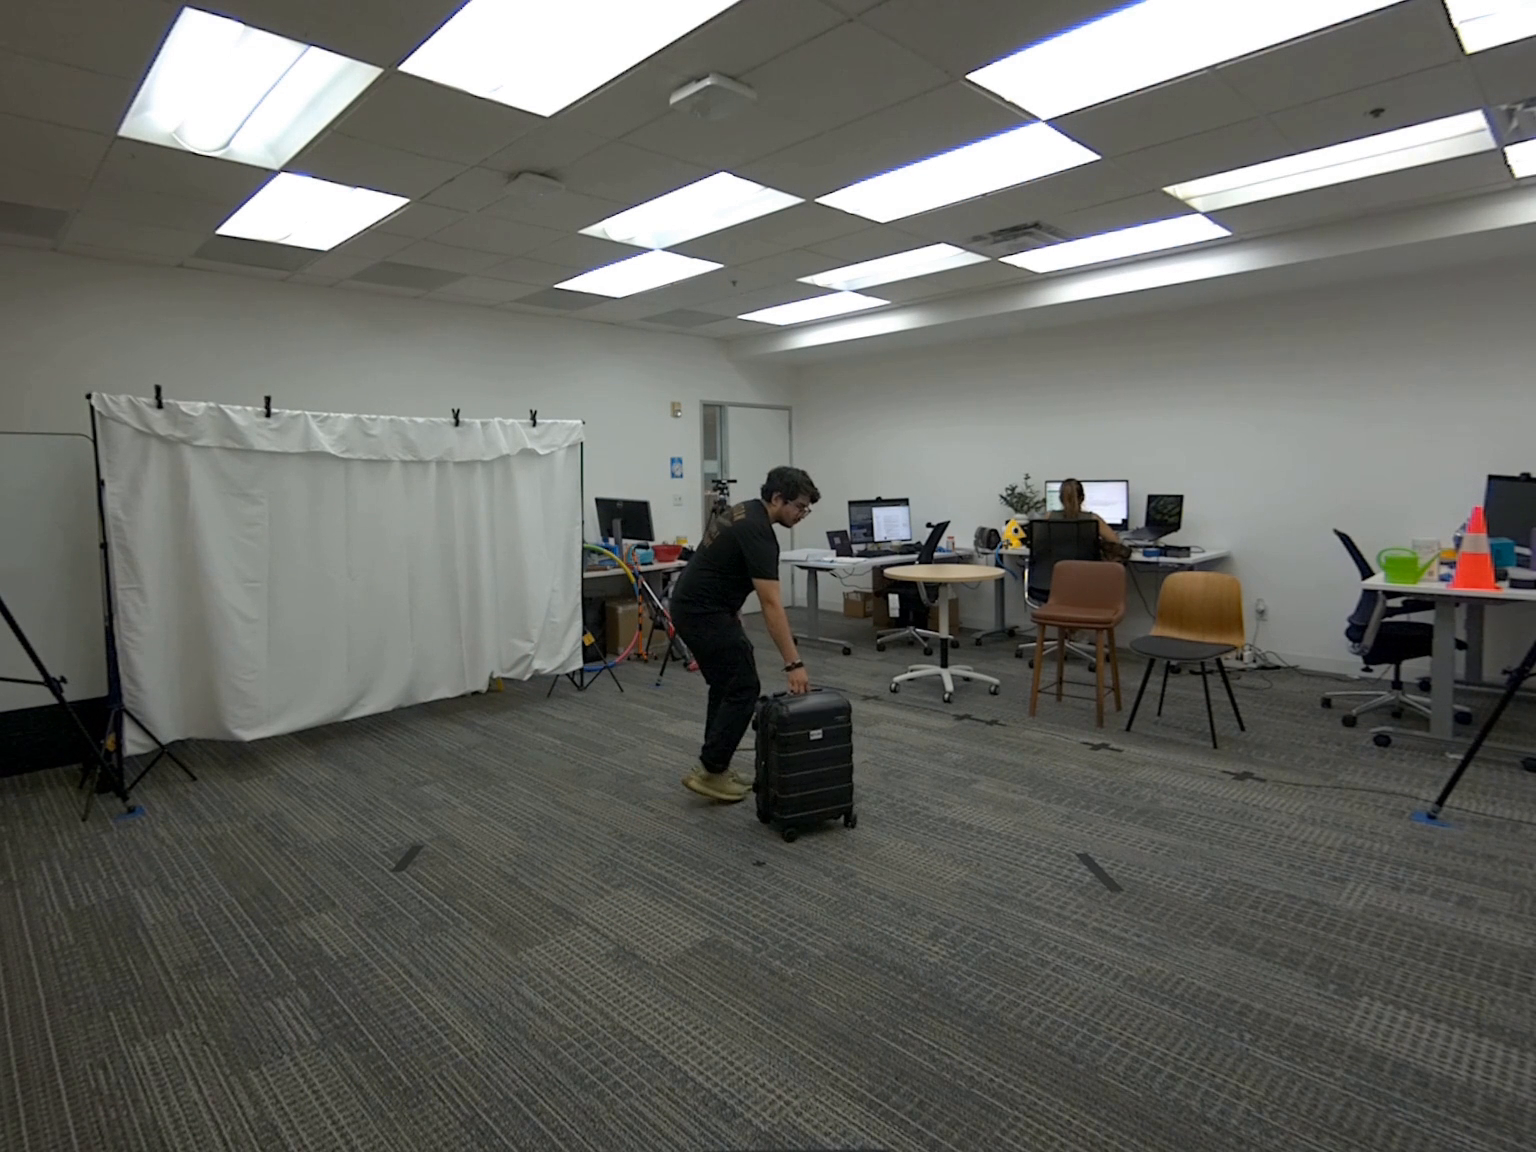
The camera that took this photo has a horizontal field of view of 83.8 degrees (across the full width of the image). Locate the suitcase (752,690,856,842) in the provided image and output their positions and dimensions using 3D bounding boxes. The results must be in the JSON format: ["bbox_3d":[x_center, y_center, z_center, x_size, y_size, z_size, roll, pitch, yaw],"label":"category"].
[{"bbox_3d":[0.142,0.733,3.434,0.368,0.547,0.254,-4,6,-24],"label":"suitcase"}]
